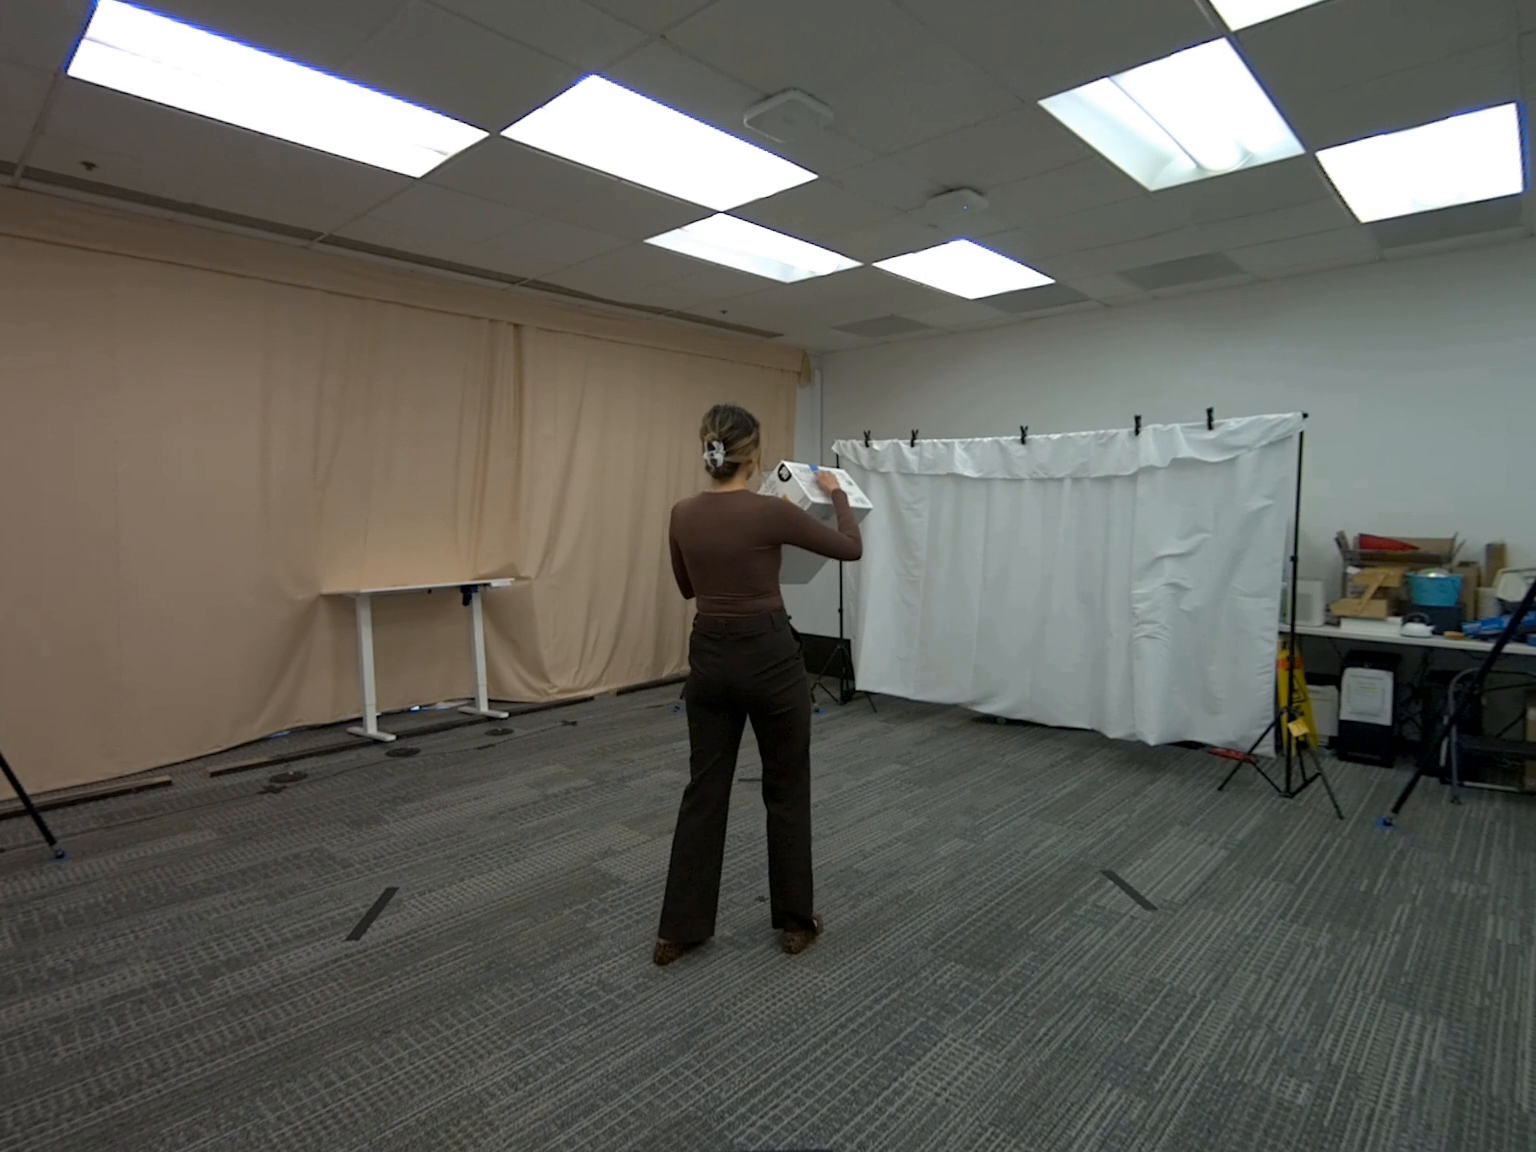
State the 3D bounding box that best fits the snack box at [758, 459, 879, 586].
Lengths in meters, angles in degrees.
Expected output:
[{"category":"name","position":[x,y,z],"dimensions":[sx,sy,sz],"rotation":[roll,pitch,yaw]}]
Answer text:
[{"category":"snack box","position":[0.106,-0.180,2.992],"dimensions":[0.329,0.211,0.407],"rotation":[1,-43,-47]}]
